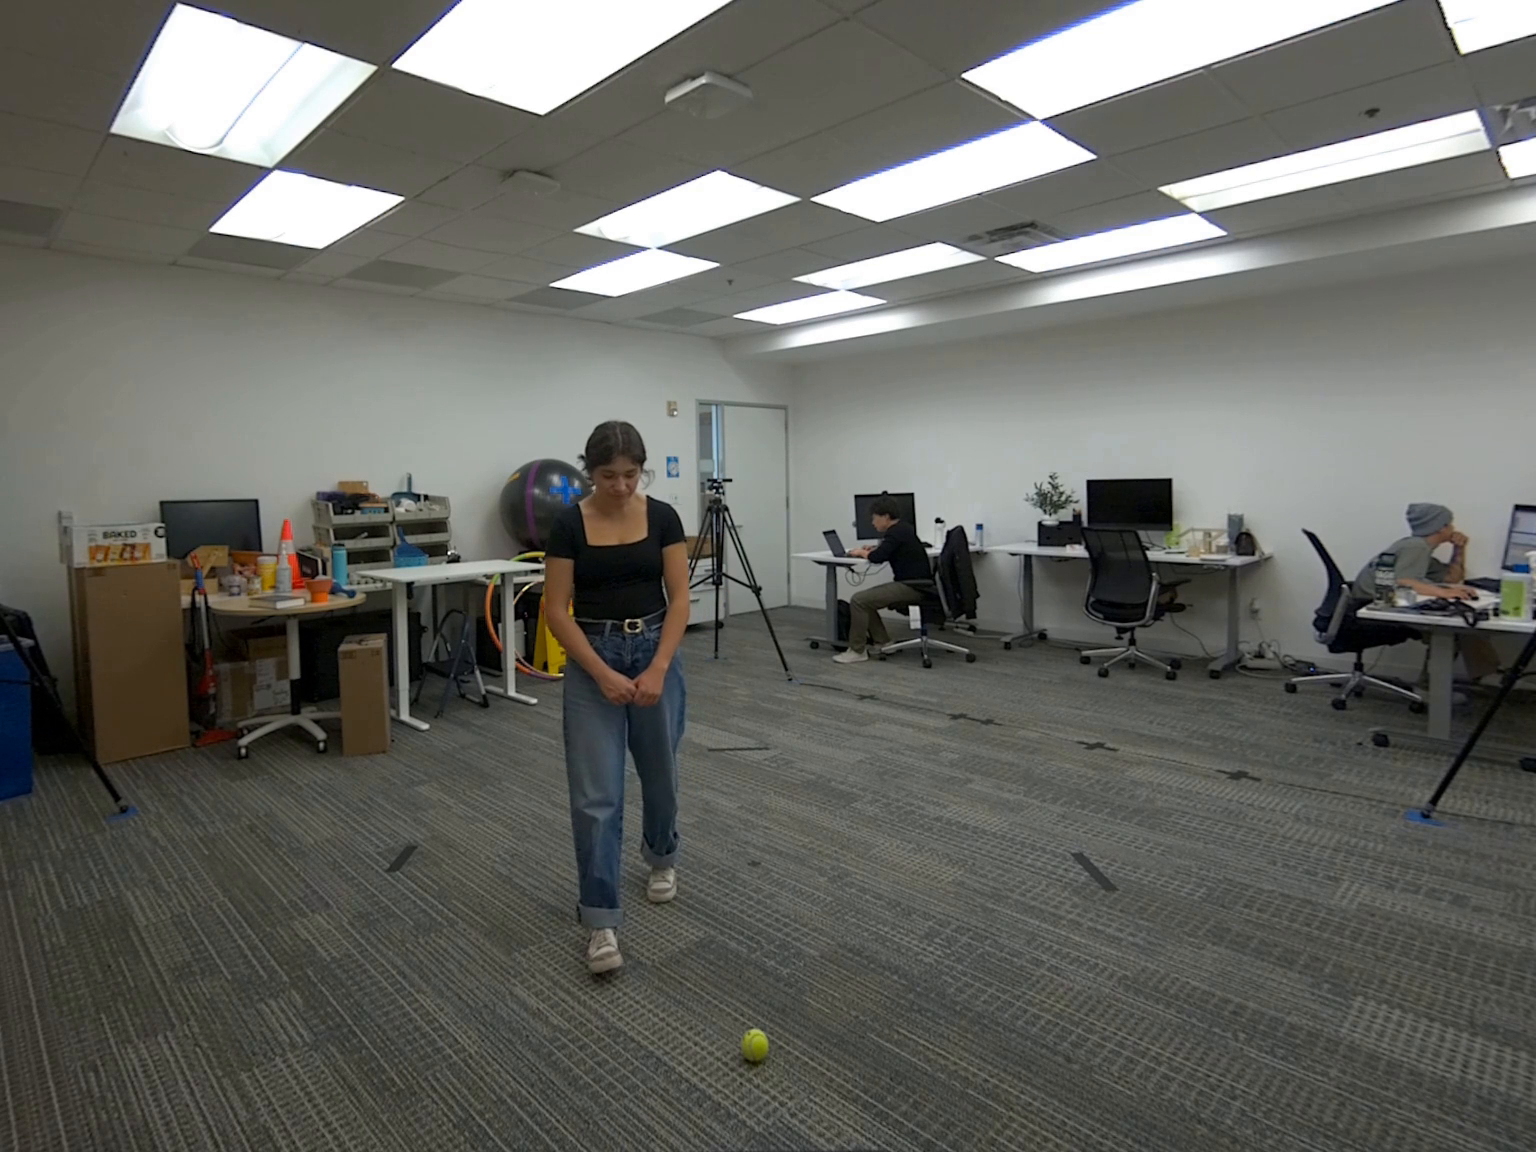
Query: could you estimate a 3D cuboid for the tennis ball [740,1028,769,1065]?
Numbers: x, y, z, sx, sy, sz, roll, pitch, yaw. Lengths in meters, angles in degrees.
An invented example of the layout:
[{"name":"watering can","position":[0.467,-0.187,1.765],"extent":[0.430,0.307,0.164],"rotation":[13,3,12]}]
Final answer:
[{"name":"tennis ball","position":[-0.028,1.128,2.064],"extent":[0.066,0.066,0.067],"rotation":[-1,5,-2]}]
